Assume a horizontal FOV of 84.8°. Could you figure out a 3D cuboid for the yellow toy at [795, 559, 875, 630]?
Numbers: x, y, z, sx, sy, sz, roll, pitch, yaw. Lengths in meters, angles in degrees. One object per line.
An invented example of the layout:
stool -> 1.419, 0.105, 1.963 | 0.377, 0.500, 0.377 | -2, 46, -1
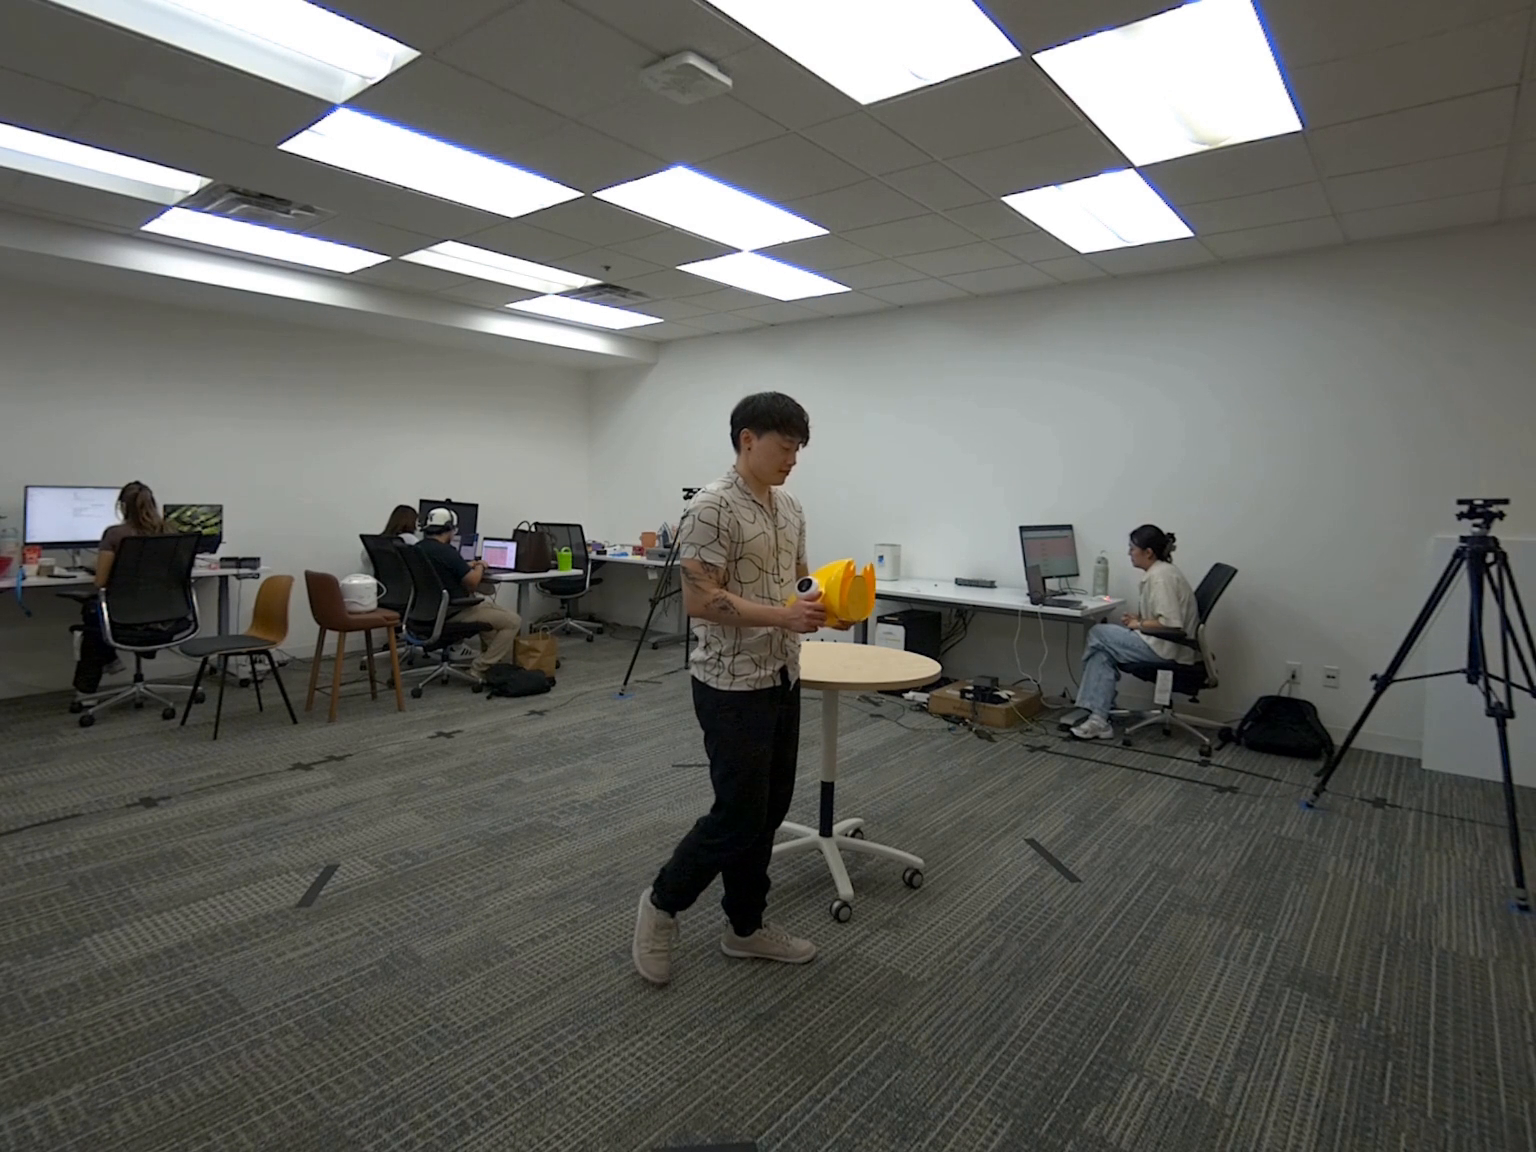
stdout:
yellow toy -> 0.139, 0.041, 2.353 | 0.238, 0.193, 0.198 | 4, 0, 38
